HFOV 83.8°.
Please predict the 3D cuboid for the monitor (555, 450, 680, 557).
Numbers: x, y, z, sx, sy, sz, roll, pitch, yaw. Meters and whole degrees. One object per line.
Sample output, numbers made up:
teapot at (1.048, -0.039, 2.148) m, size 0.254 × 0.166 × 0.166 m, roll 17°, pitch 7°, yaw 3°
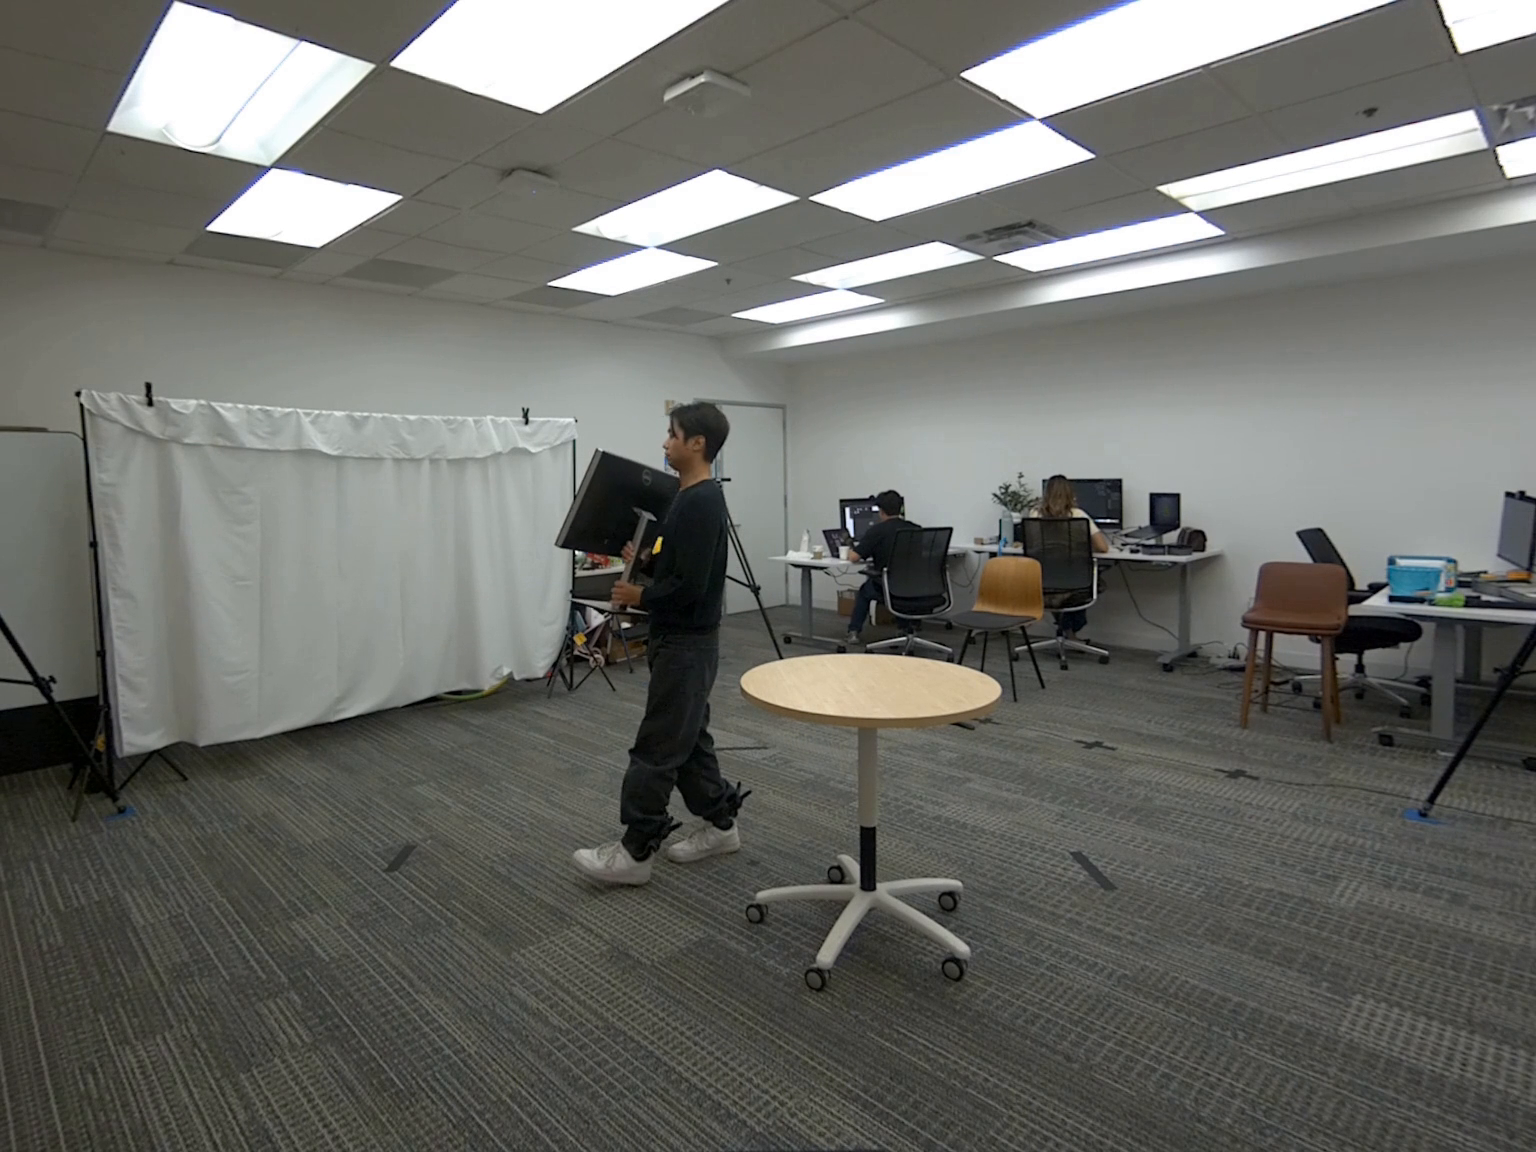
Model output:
monitor at (-0.514, -0.149, 3.090) m, size 0.179 × 0.517 × 0.515 m, roll 6°, pitch -2°, yaw 26°
